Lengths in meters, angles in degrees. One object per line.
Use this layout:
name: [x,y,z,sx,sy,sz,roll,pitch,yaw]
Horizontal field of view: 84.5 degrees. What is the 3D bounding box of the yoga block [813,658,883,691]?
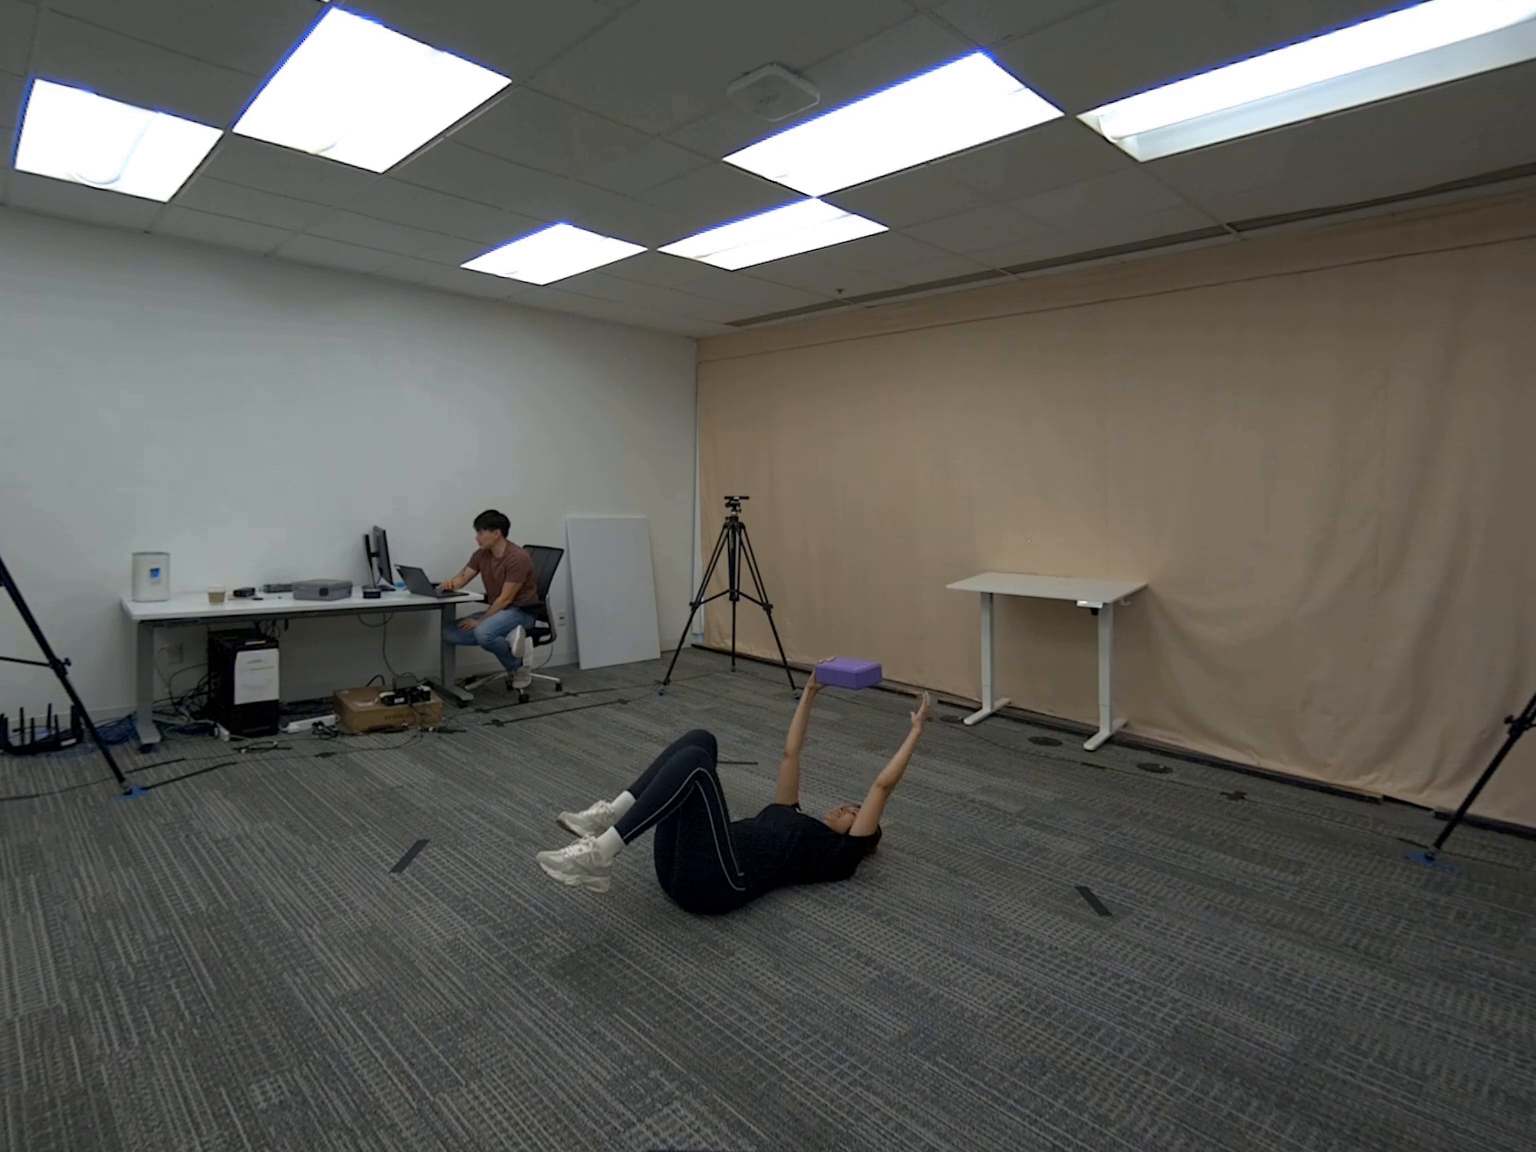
yoga block: [0.315,0.379,3.265,0.146,0.076,0.235,-10,7,-39]
